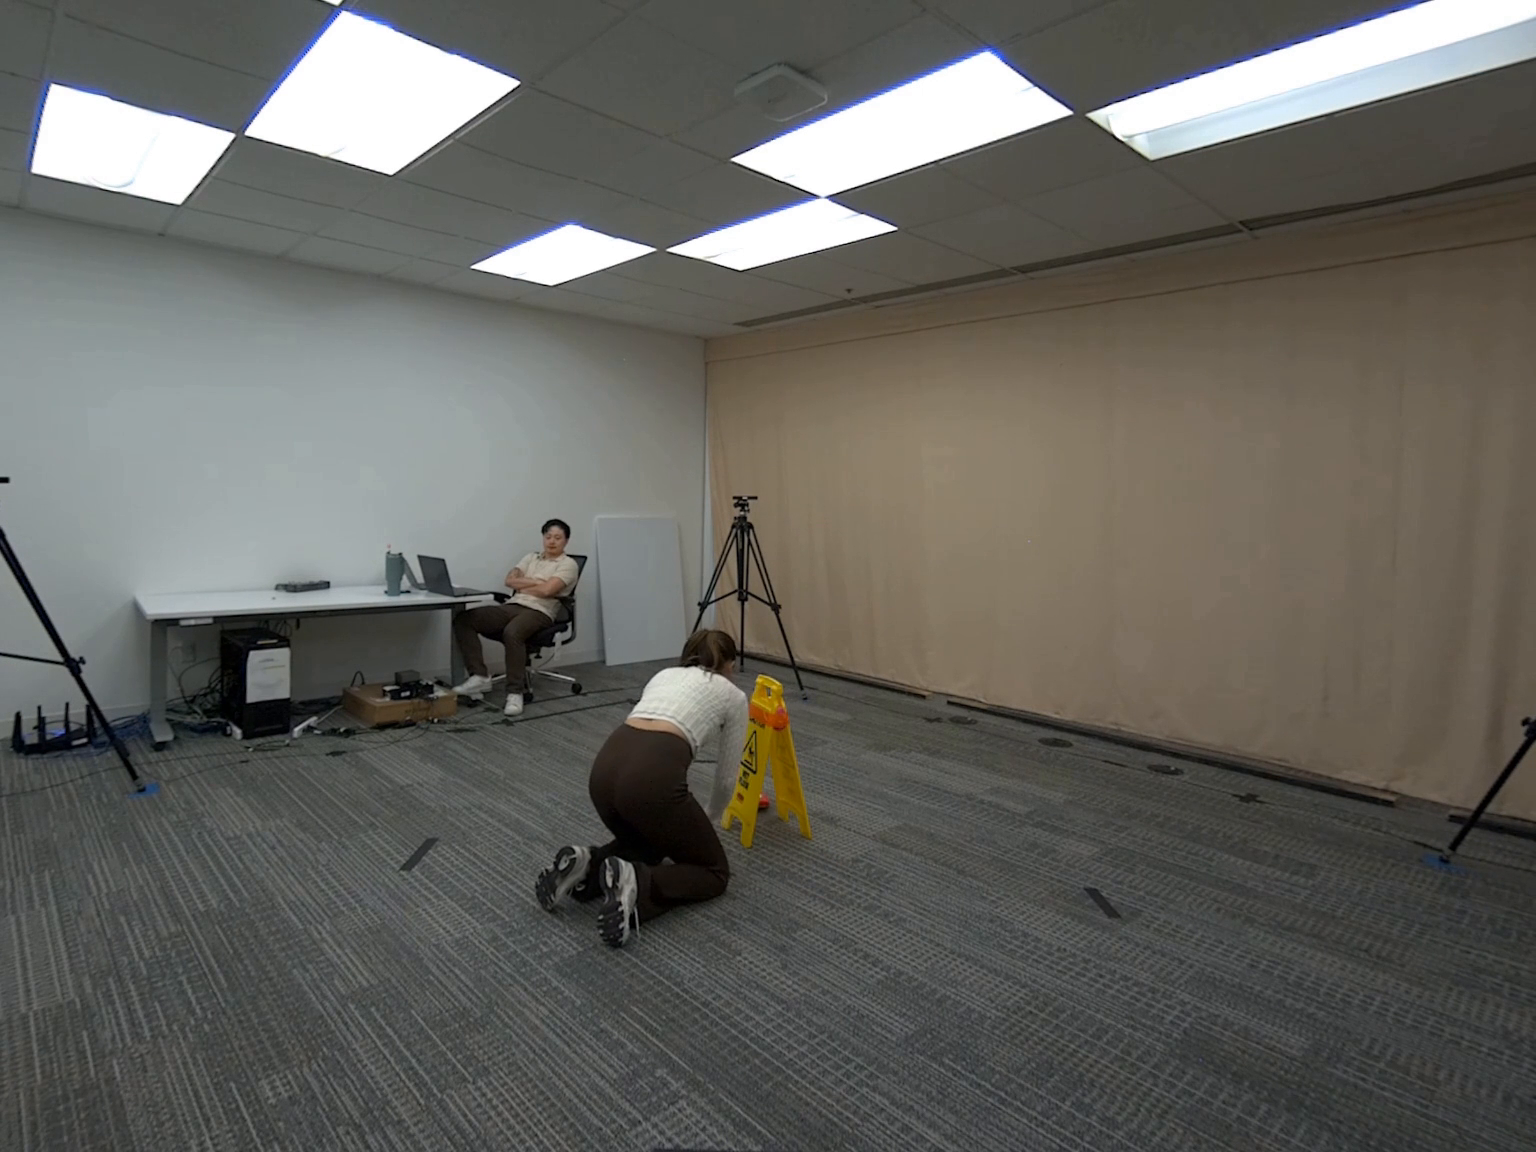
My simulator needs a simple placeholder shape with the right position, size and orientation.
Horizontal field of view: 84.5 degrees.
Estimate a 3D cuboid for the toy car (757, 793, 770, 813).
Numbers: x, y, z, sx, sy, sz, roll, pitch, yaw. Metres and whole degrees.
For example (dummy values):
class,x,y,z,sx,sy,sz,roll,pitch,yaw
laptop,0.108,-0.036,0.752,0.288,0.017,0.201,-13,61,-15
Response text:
class,x,y,z,sx,sy,sz,roll,pitch,yaw
toy car,-0.071,1.013,3.831,0.129,0.083,0.255,2,-6,-12
